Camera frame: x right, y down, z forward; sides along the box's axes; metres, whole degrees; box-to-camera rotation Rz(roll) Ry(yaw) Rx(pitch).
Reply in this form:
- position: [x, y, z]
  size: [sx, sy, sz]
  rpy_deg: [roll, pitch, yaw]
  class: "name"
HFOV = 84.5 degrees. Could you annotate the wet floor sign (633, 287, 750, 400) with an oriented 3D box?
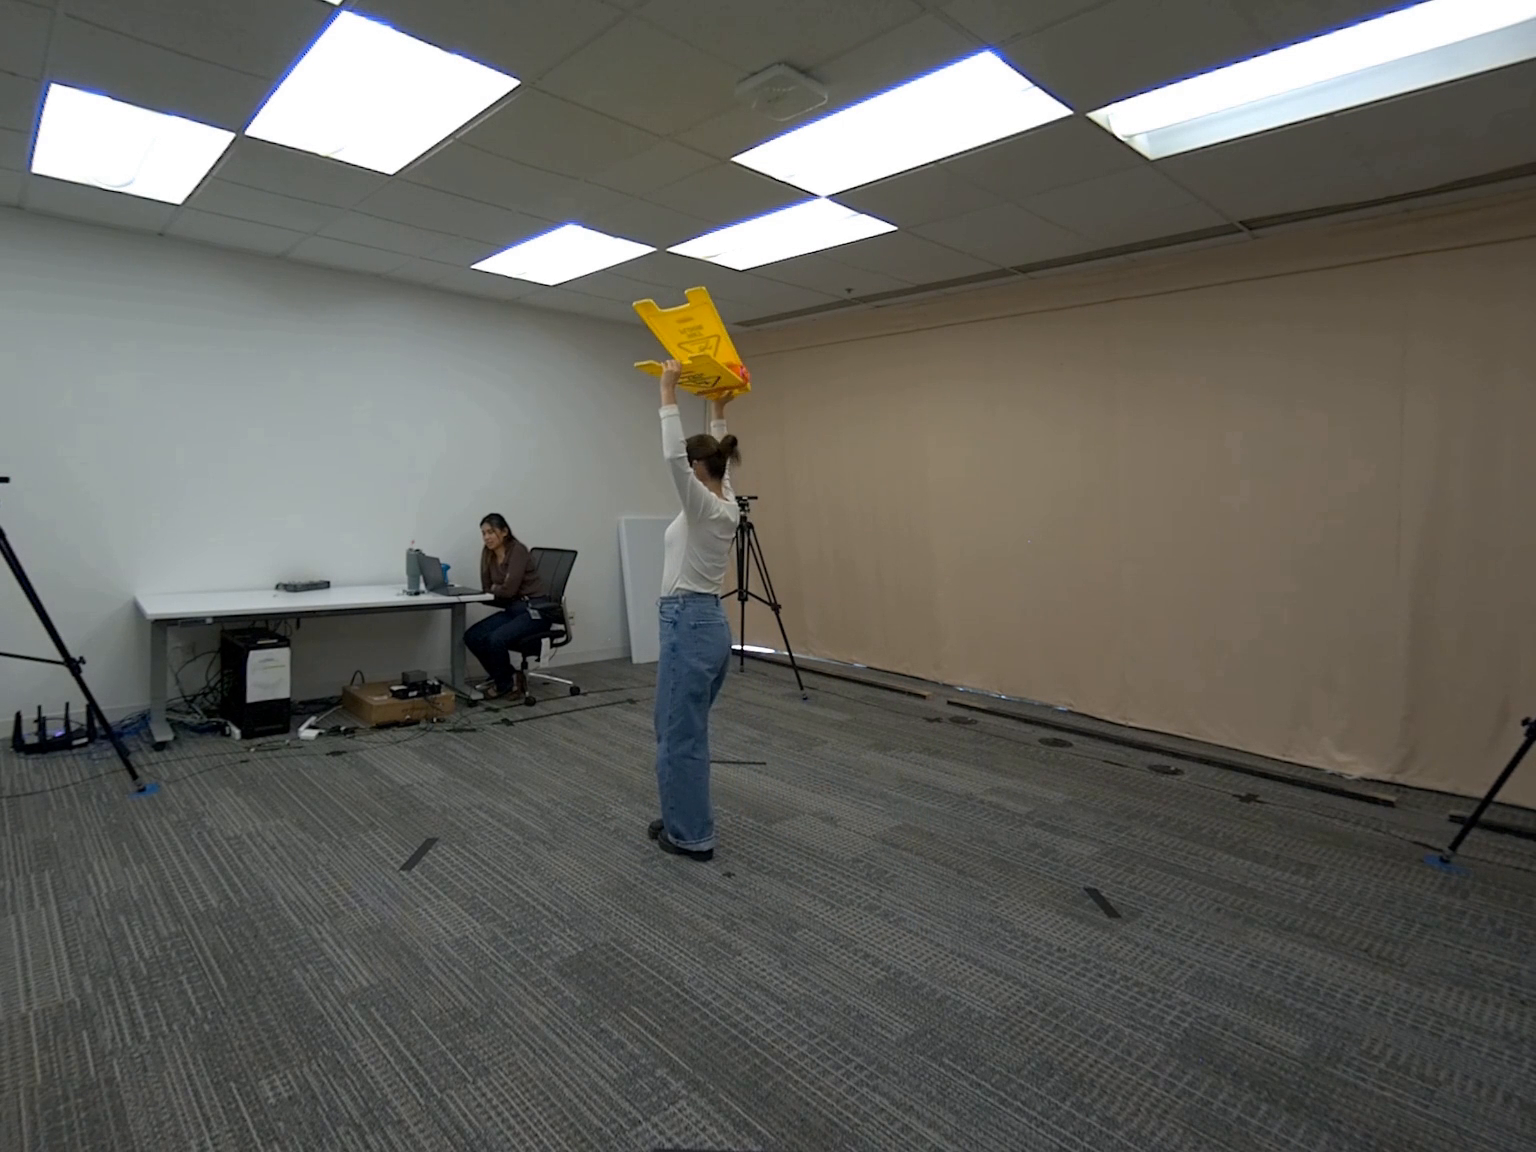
- position: [-0.255, -0.823, 3.264]
  size: [0.285, 0.292, 0.633]
  rpy_deg: [-6, -10, 15]
  class: "wet floor sign"
